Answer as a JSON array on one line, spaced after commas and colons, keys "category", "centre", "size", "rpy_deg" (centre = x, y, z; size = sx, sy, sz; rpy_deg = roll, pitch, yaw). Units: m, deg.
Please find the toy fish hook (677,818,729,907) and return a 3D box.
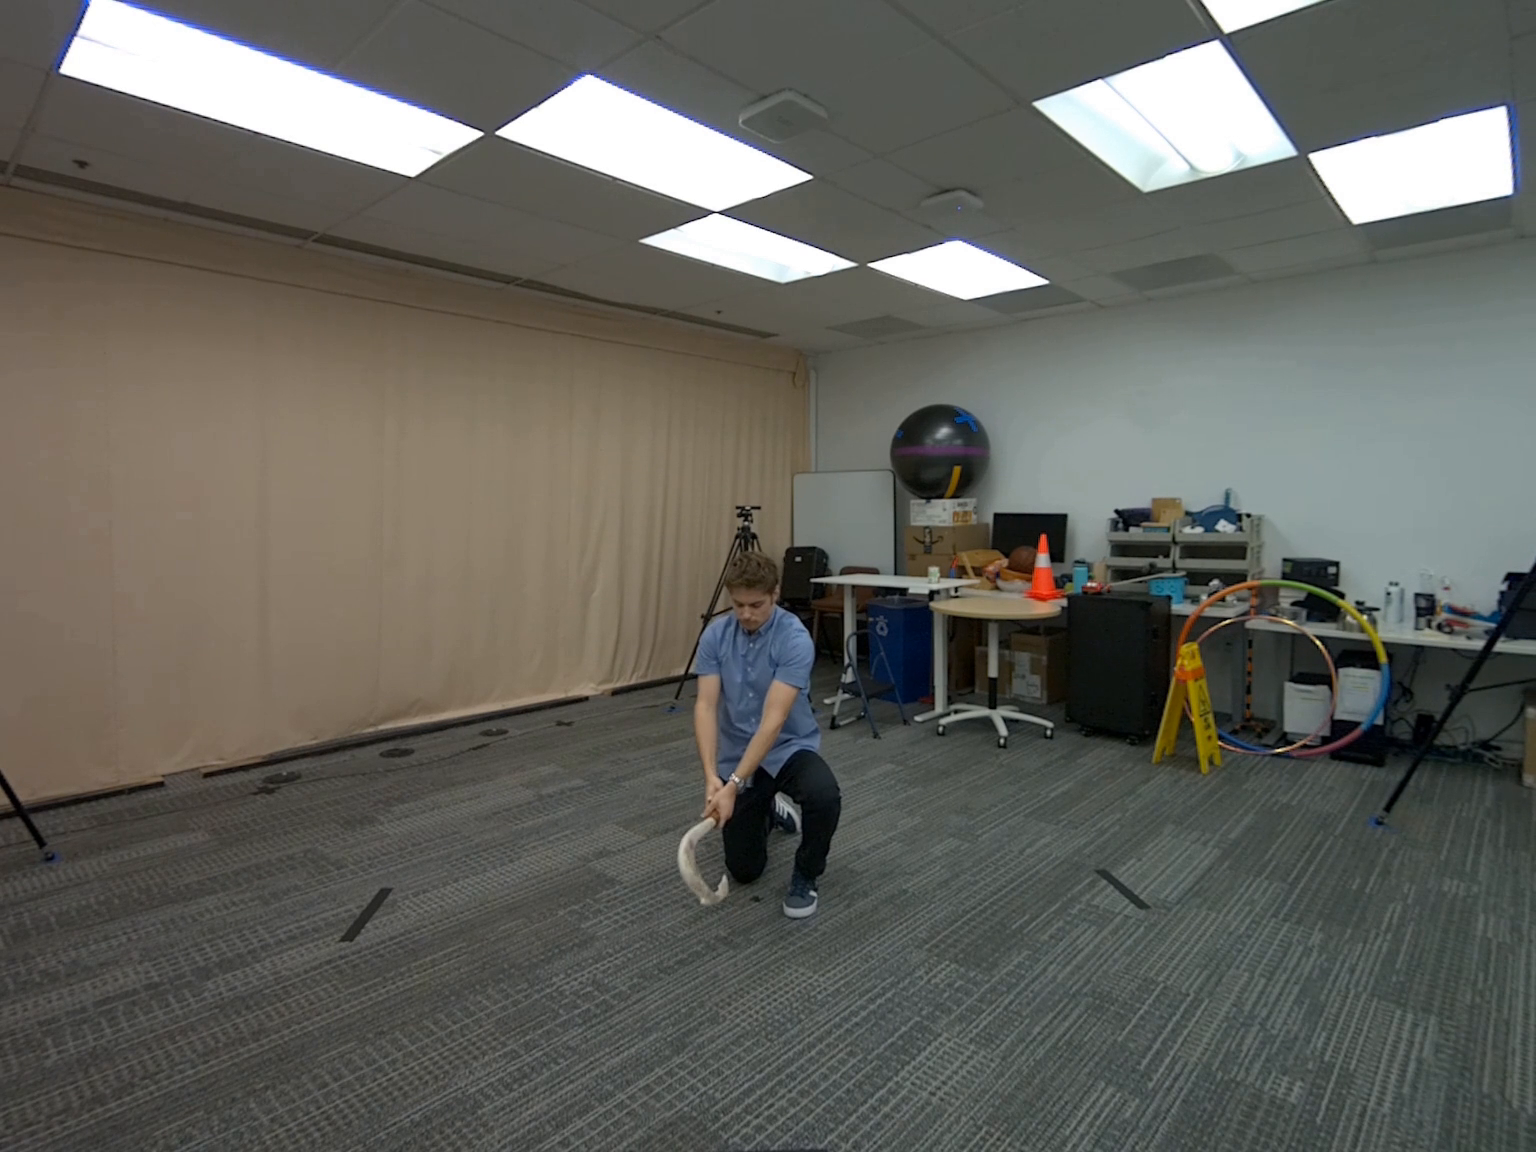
[{"category": "toy fish hook", "centre": [-0.166, 0.844, 2.671], "size": [0.049, 0.223, 0.504], "rpy_deg": [-27, 8, 16]}]
